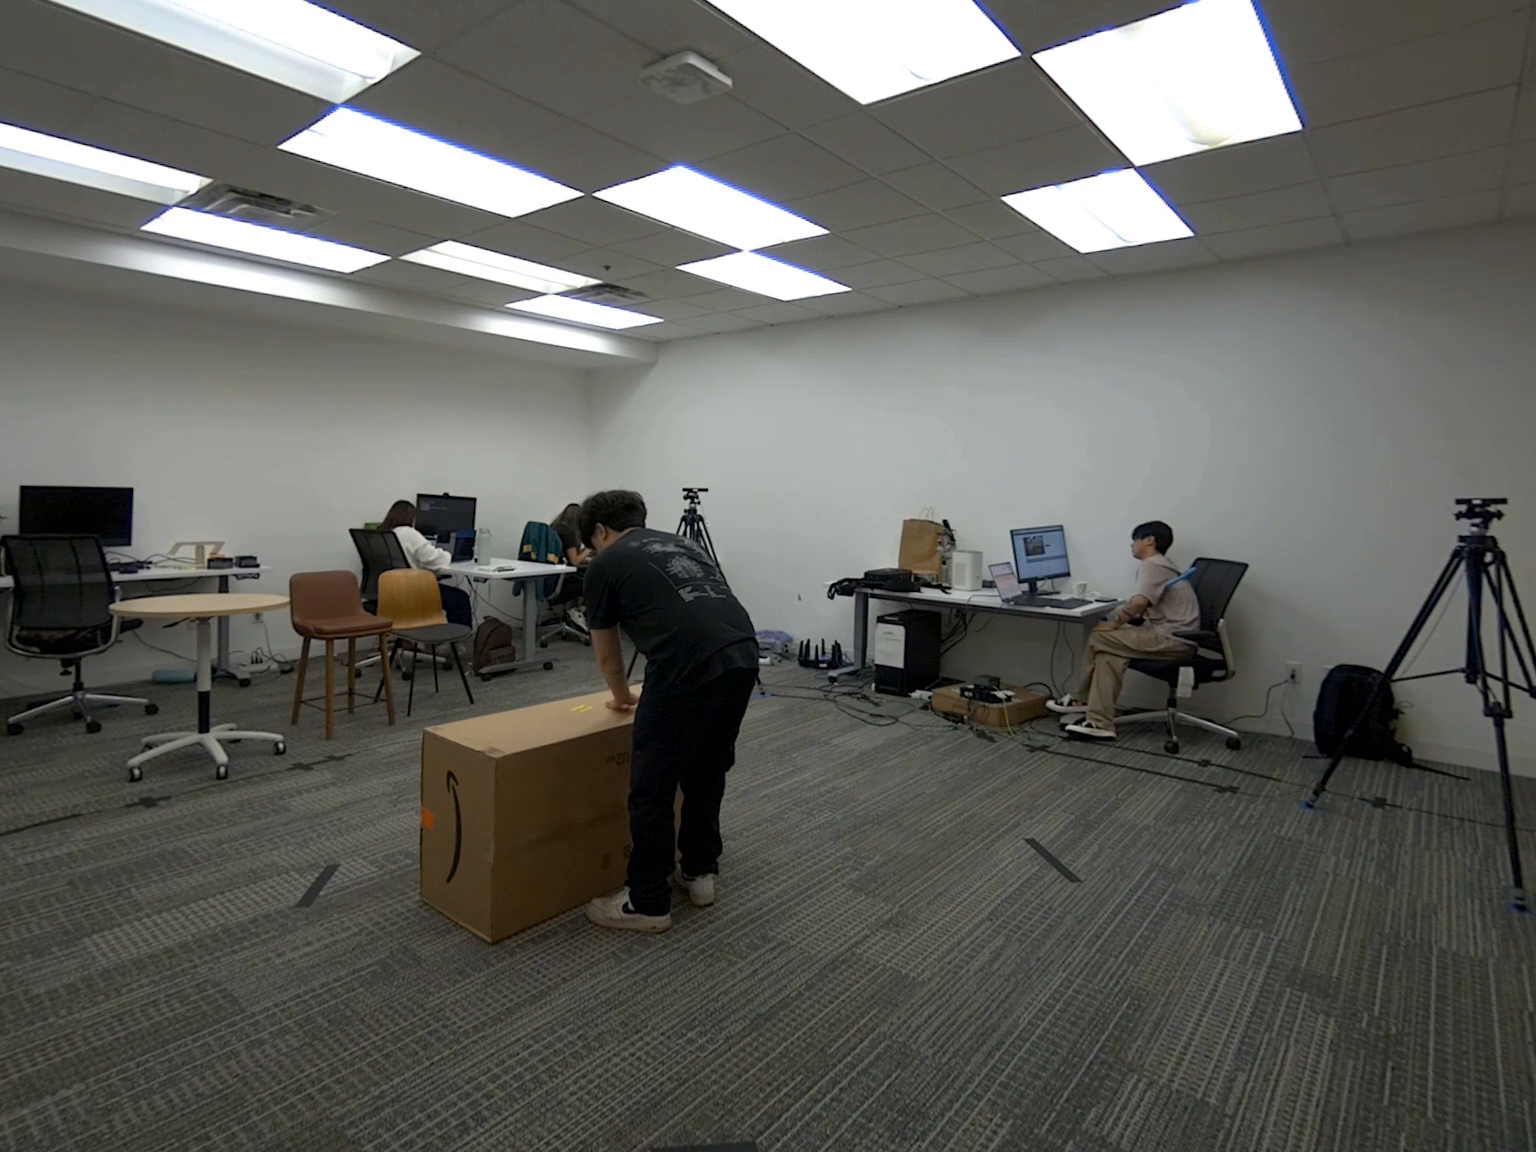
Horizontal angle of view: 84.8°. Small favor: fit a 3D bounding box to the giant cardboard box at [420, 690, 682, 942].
[{"bbox_3d":[-0.689,0.780,3.071,0.461,0.582,0.996,3,4,39],"label":"giant cardboard box"}]
